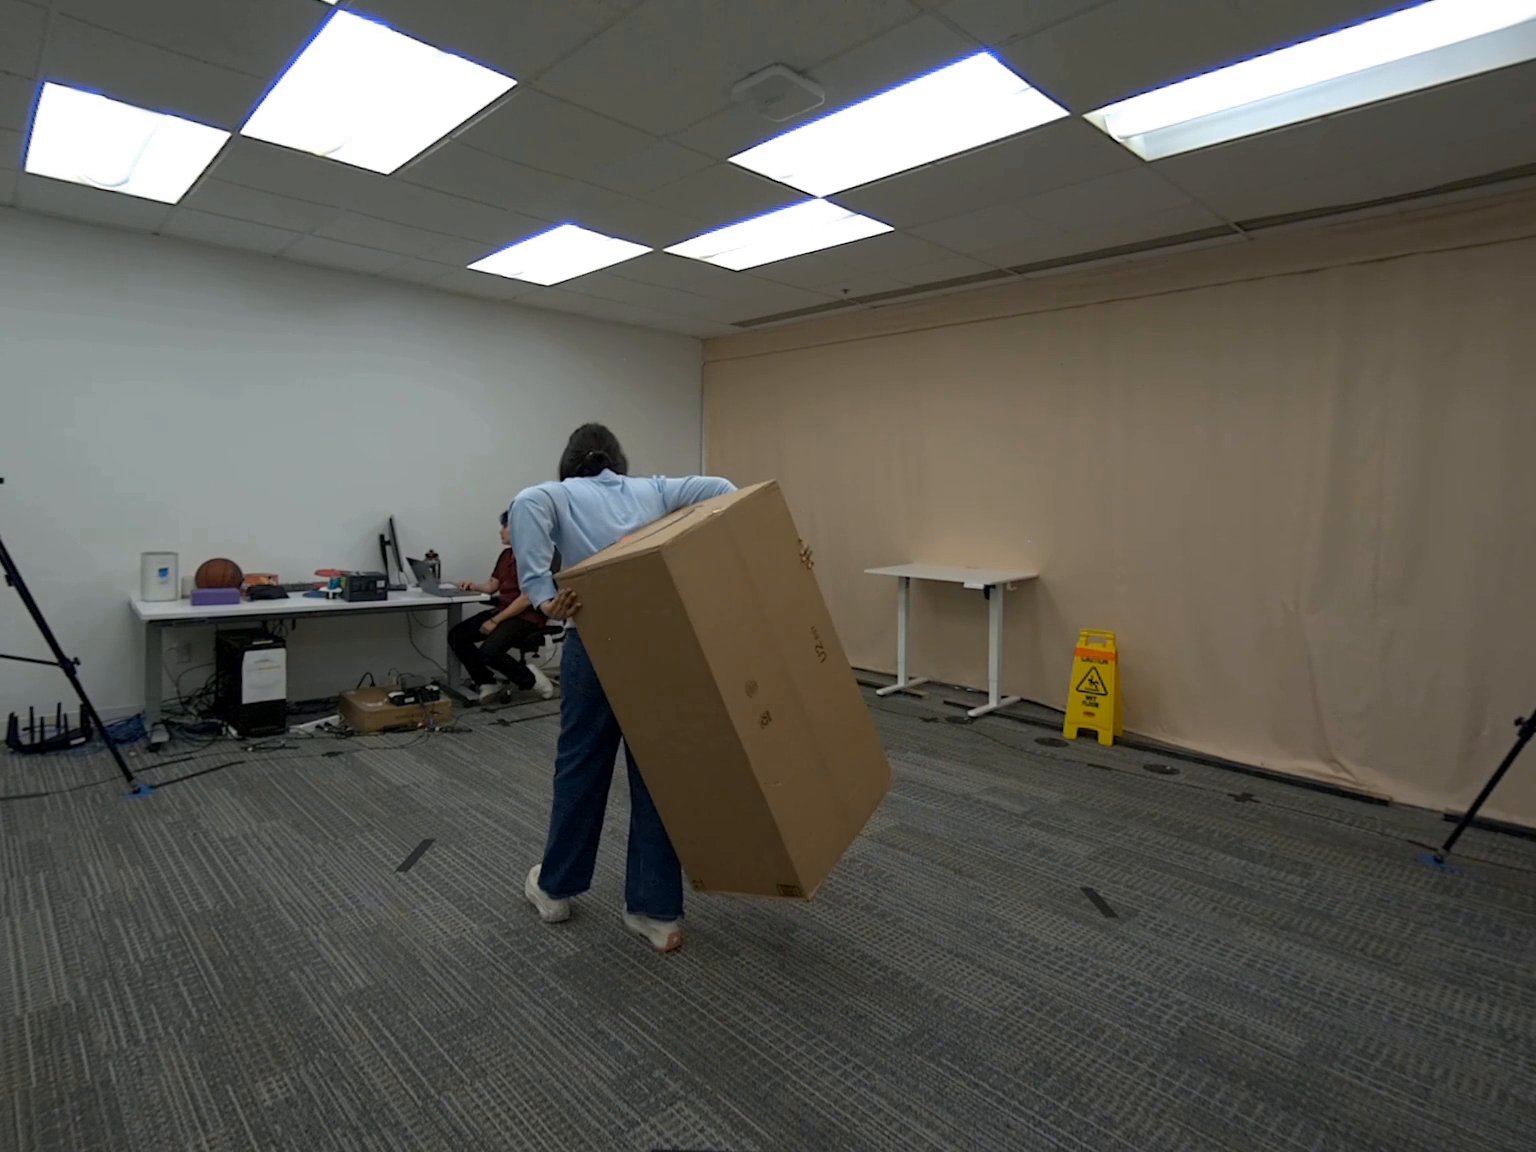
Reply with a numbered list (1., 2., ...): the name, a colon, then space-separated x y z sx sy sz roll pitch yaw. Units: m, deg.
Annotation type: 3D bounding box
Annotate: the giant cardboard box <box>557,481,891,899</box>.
1. giant cardboard box: -0.100 0.329 2.466 0.433 1.016 0.573 -14 12 38
